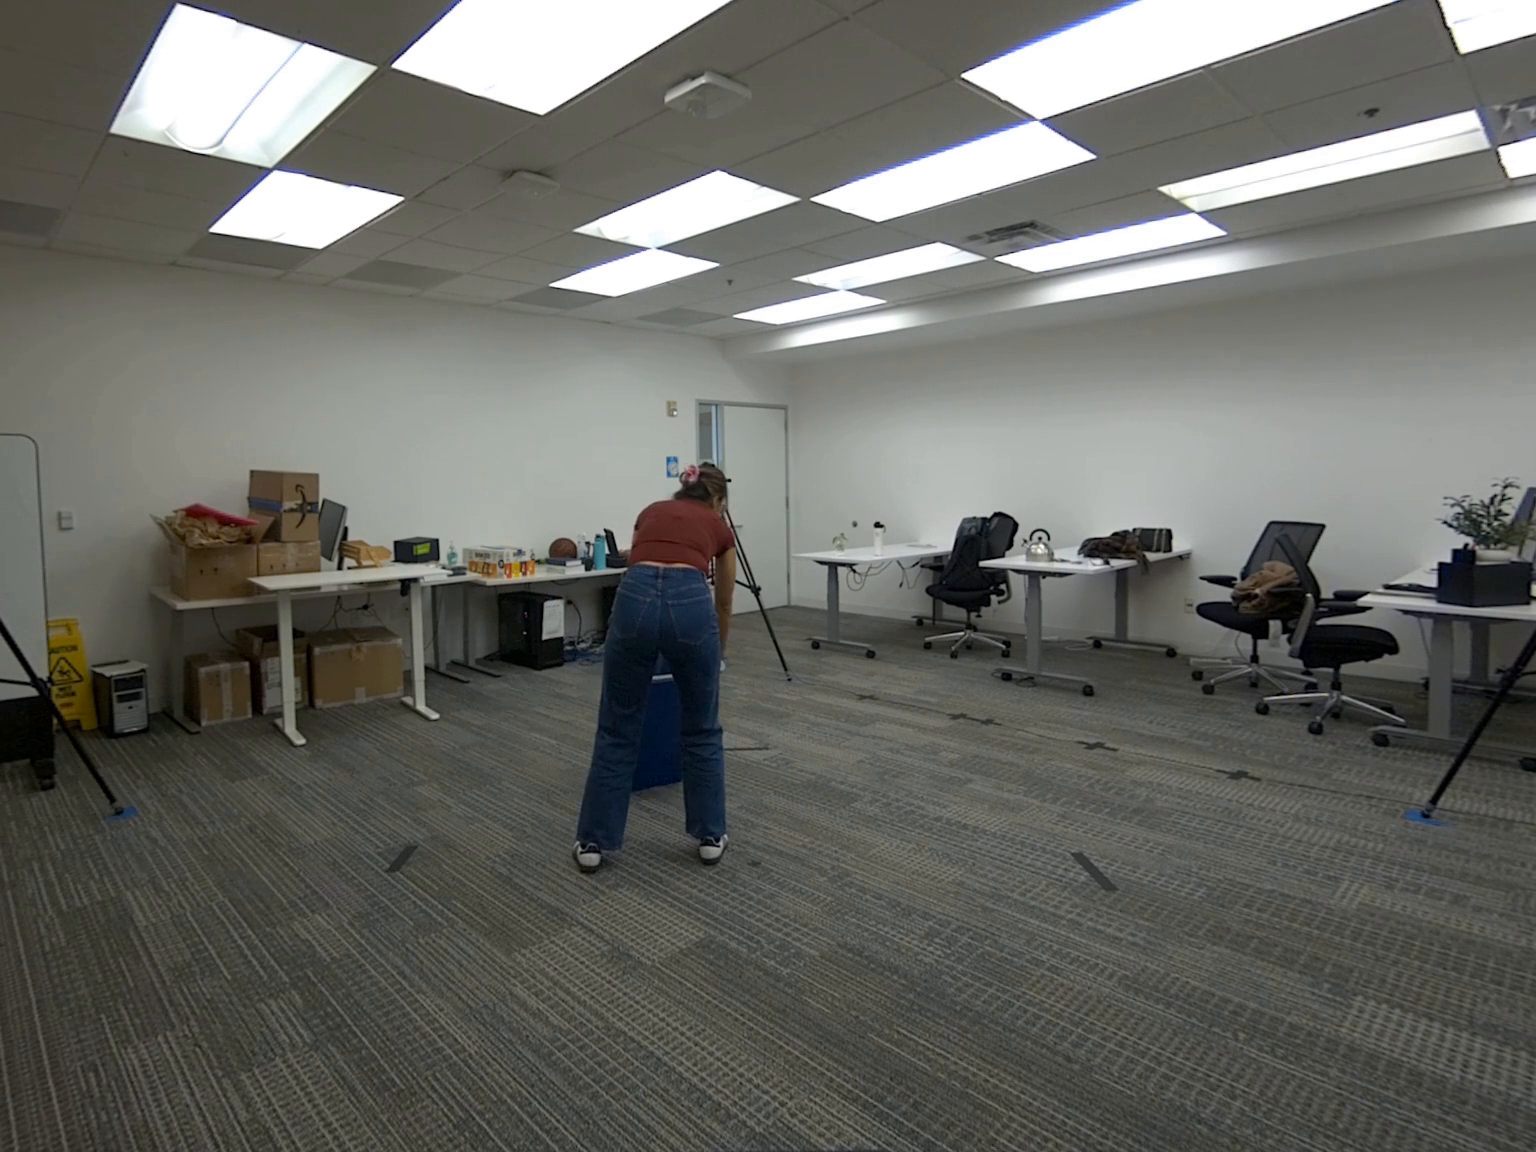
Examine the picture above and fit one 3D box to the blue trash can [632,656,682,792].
[{"bbox_3d":[-0.491,0.593,3.834,0.369,0.702,0.389,-4,35,-31],"label":"blue trash can"}]
